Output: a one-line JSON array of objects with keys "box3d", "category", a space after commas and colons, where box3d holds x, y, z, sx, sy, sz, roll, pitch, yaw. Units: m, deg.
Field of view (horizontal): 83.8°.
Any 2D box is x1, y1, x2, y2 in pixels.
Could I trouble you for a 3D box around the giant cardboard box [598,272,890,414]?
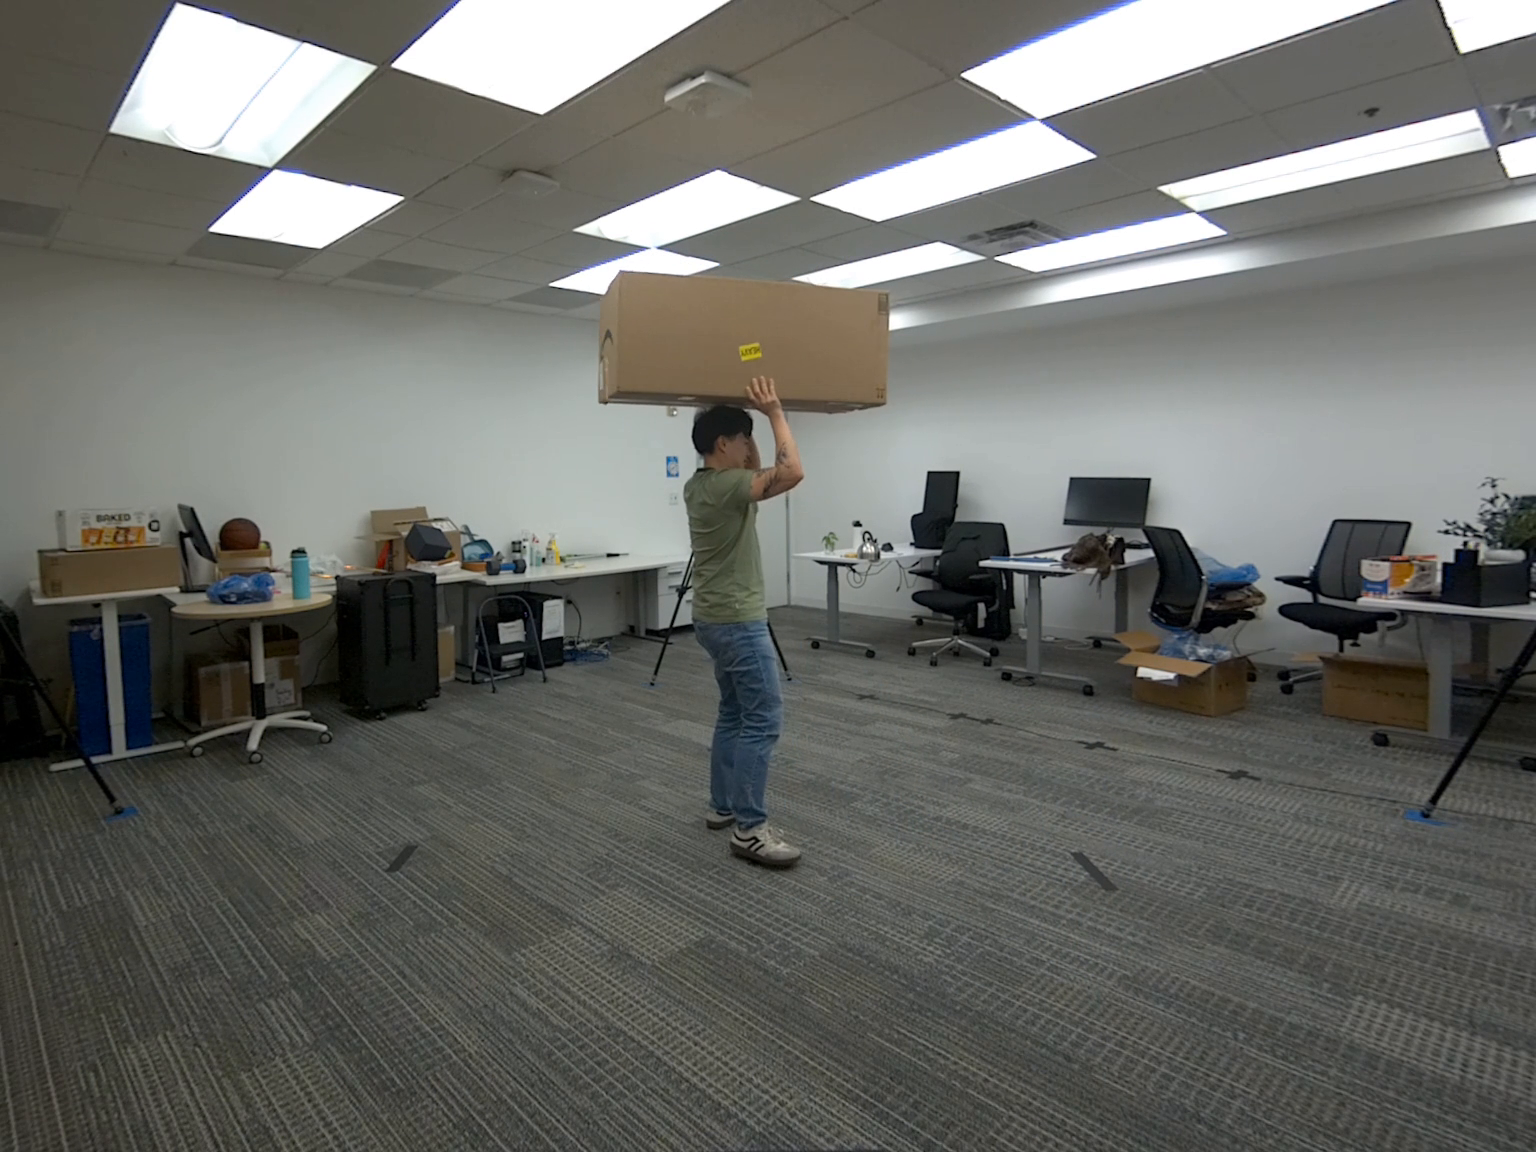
[{"box3d": [-0.117, -0.881, 3.344, 1.011, 0.424, 0.588, 0, 6, -15], "category": "giant cardboard box"}]
